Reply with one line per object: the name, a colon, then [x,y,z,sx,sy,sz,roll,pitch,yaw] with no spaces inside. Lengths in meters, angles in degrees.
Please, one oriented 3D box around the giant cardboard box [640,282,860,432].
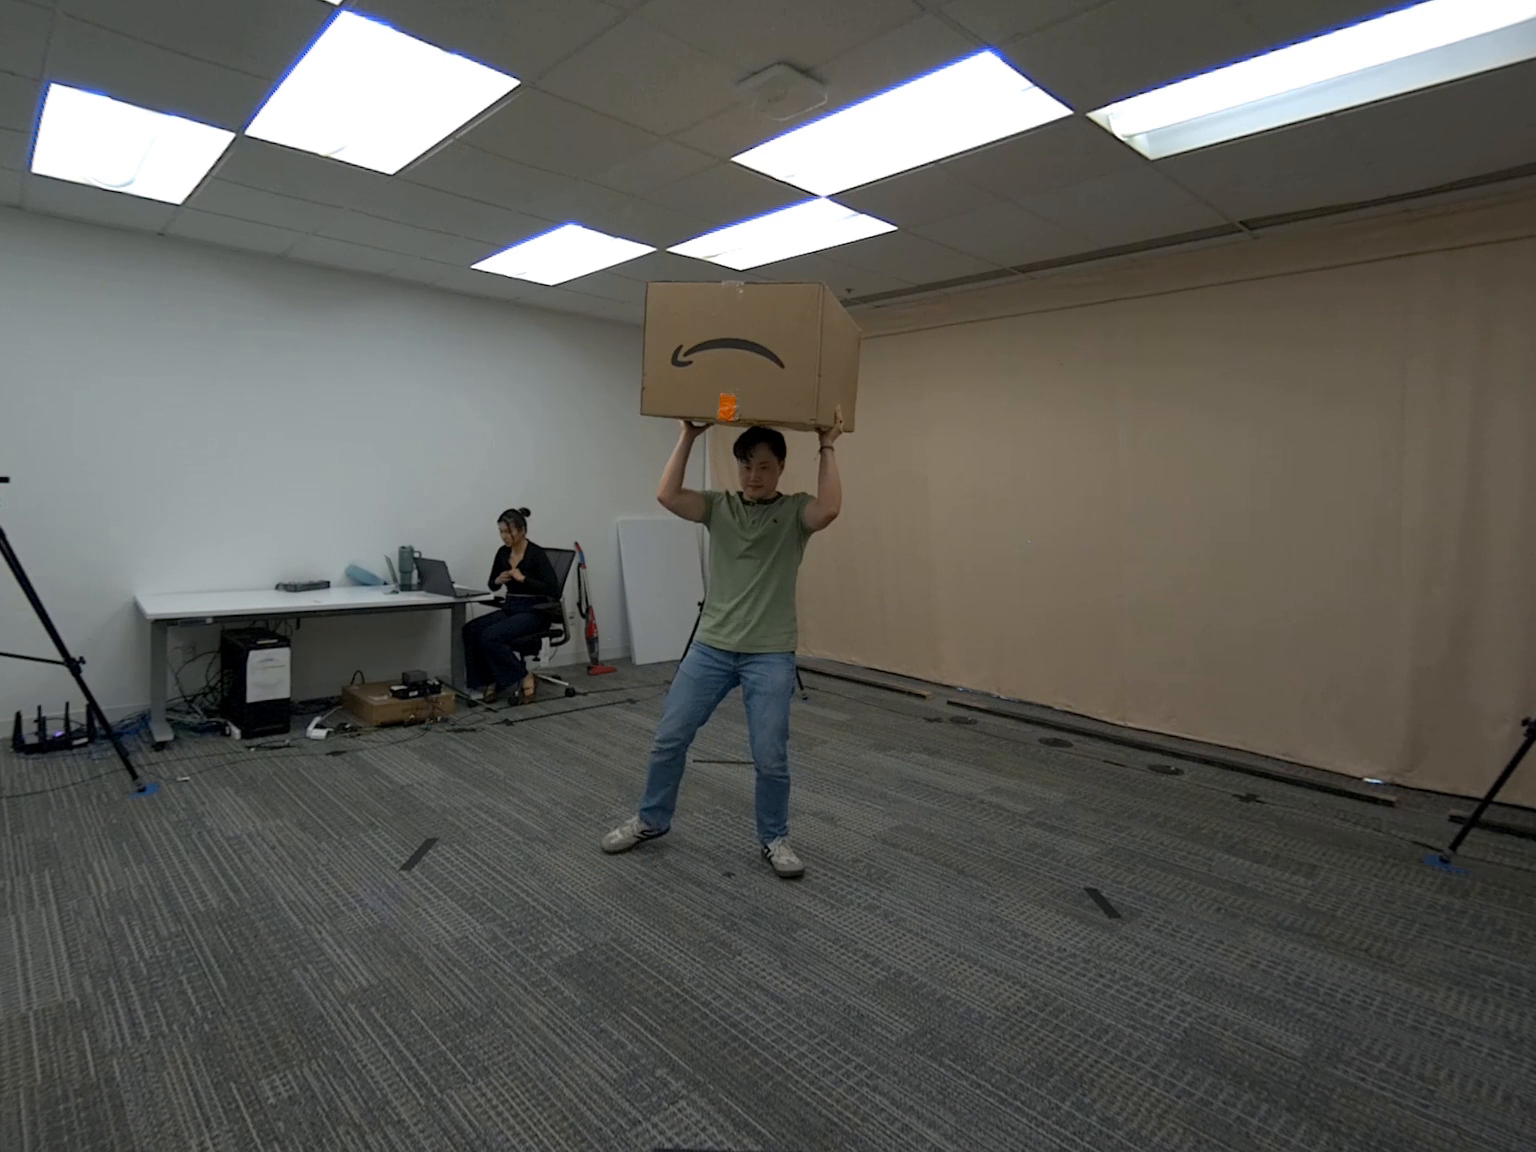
giant cardboard box: [-0.020,-0.760,3.095,0.584,0.424,1.020,6,9,12]
